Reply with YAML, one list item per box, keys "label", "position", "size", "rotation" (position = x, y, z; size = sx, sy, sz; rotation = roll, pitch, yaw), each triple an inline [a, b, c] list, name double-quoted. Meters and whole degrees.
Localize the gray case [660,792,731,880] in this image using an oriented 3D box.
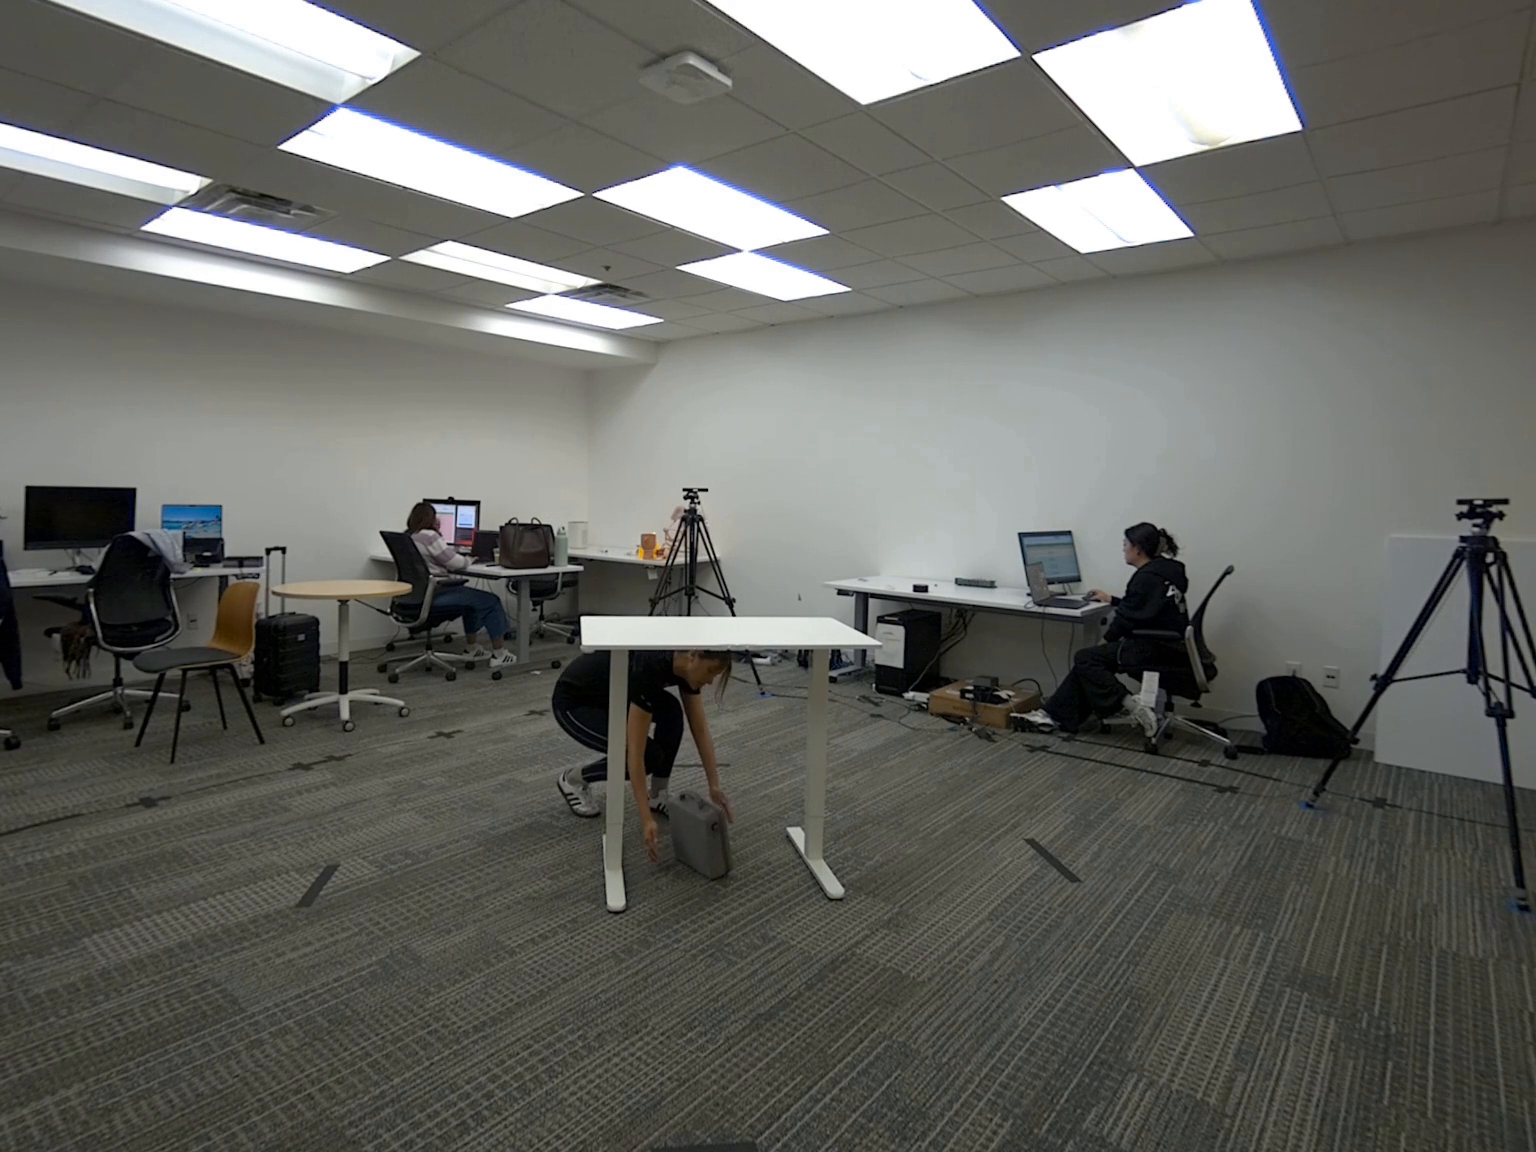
- label: "gray case"
  position: [-0.258, 0.937, 3.109]
  size: [0.102, 0.258, 0.265]
  rotation: [-14, 12, -35]
